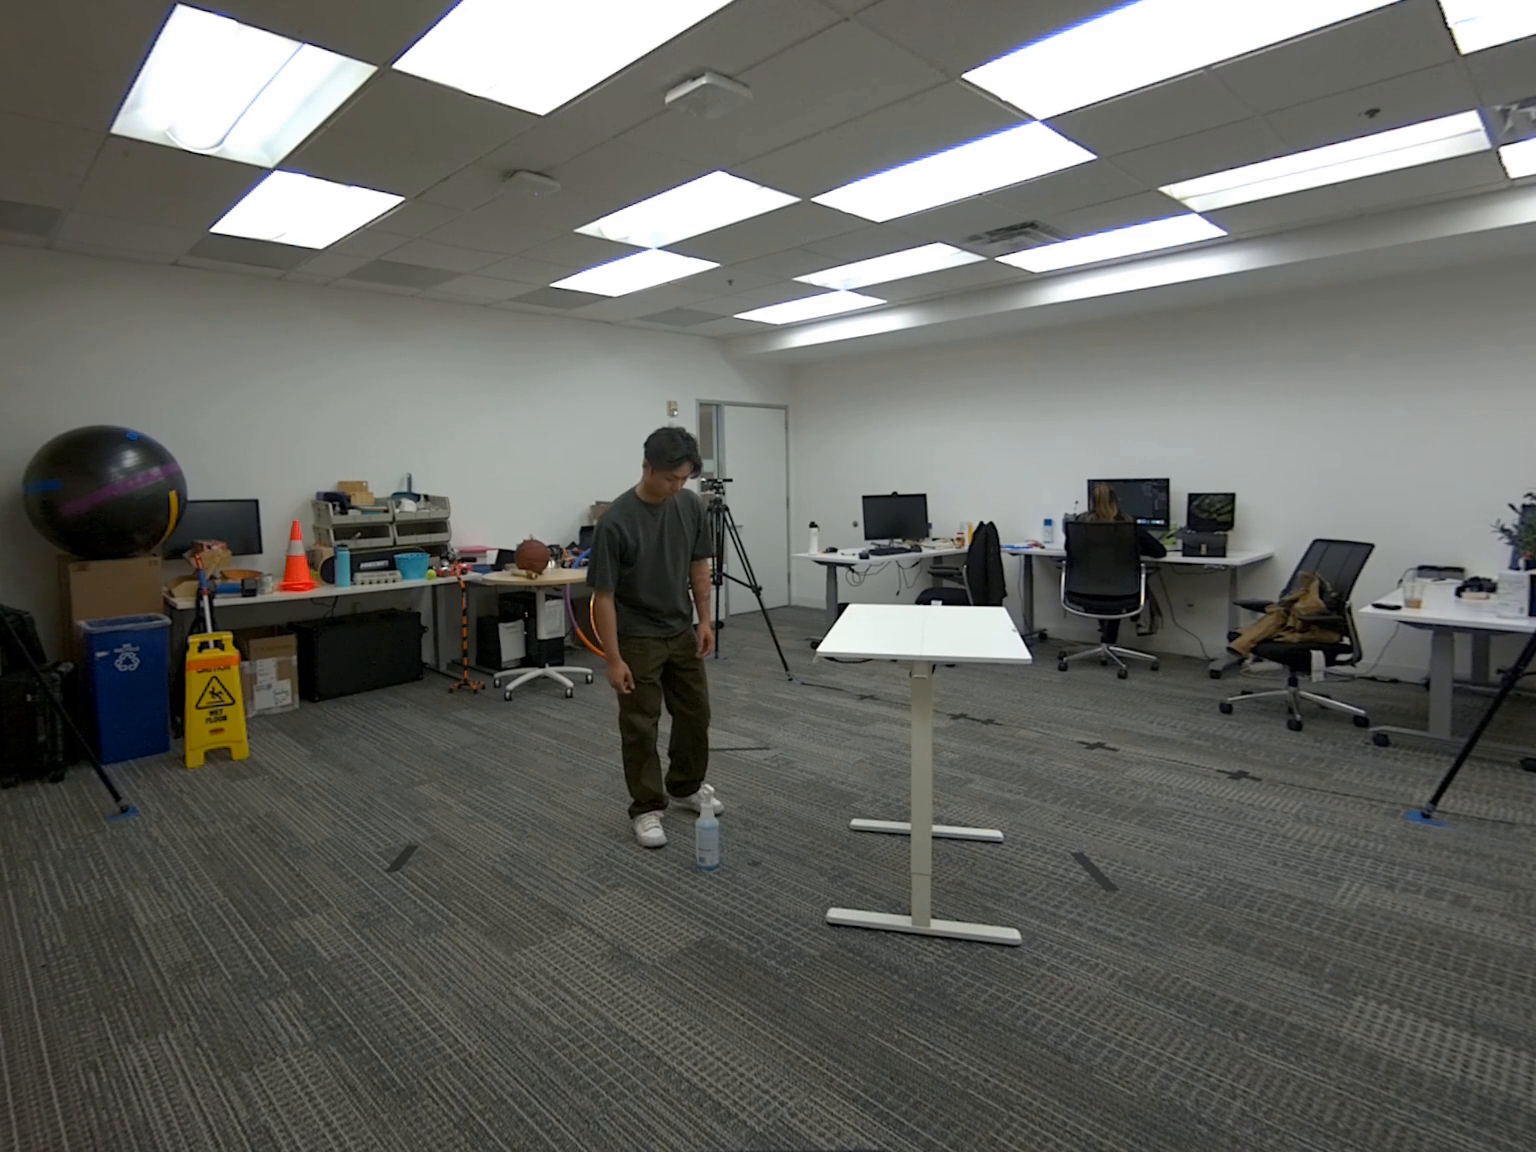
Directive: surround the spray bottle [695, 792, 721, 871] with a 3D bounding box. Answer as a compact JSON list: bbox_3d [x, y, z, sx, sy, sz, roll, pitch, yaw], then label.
[{"bbox_3d":[-0.217,0.903,3.095,0.087,0.296,0.090,0,3,-1],"label":"spray bottle"}]
